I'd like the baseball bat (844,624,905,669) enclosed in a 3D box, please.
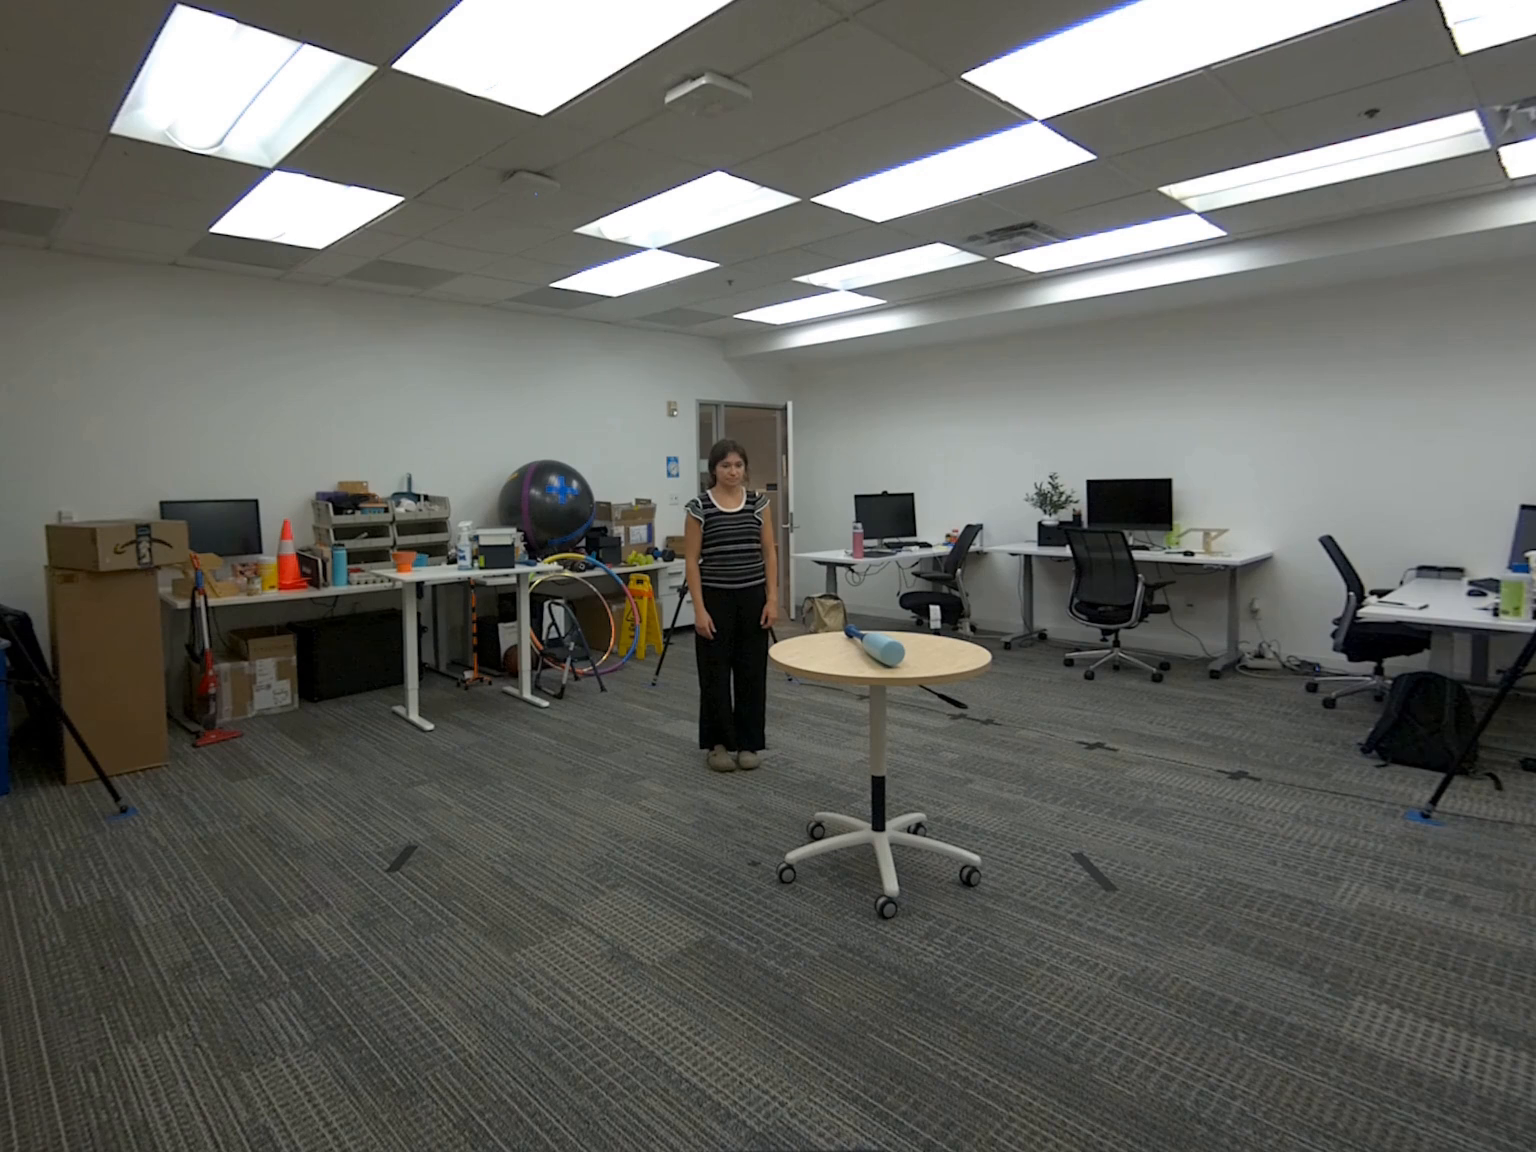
[{"bbox_3d":[0.366,0.229,2.997,0.088,0.089,0.548,-2,4,-8],"label":"baseball bat"}]
